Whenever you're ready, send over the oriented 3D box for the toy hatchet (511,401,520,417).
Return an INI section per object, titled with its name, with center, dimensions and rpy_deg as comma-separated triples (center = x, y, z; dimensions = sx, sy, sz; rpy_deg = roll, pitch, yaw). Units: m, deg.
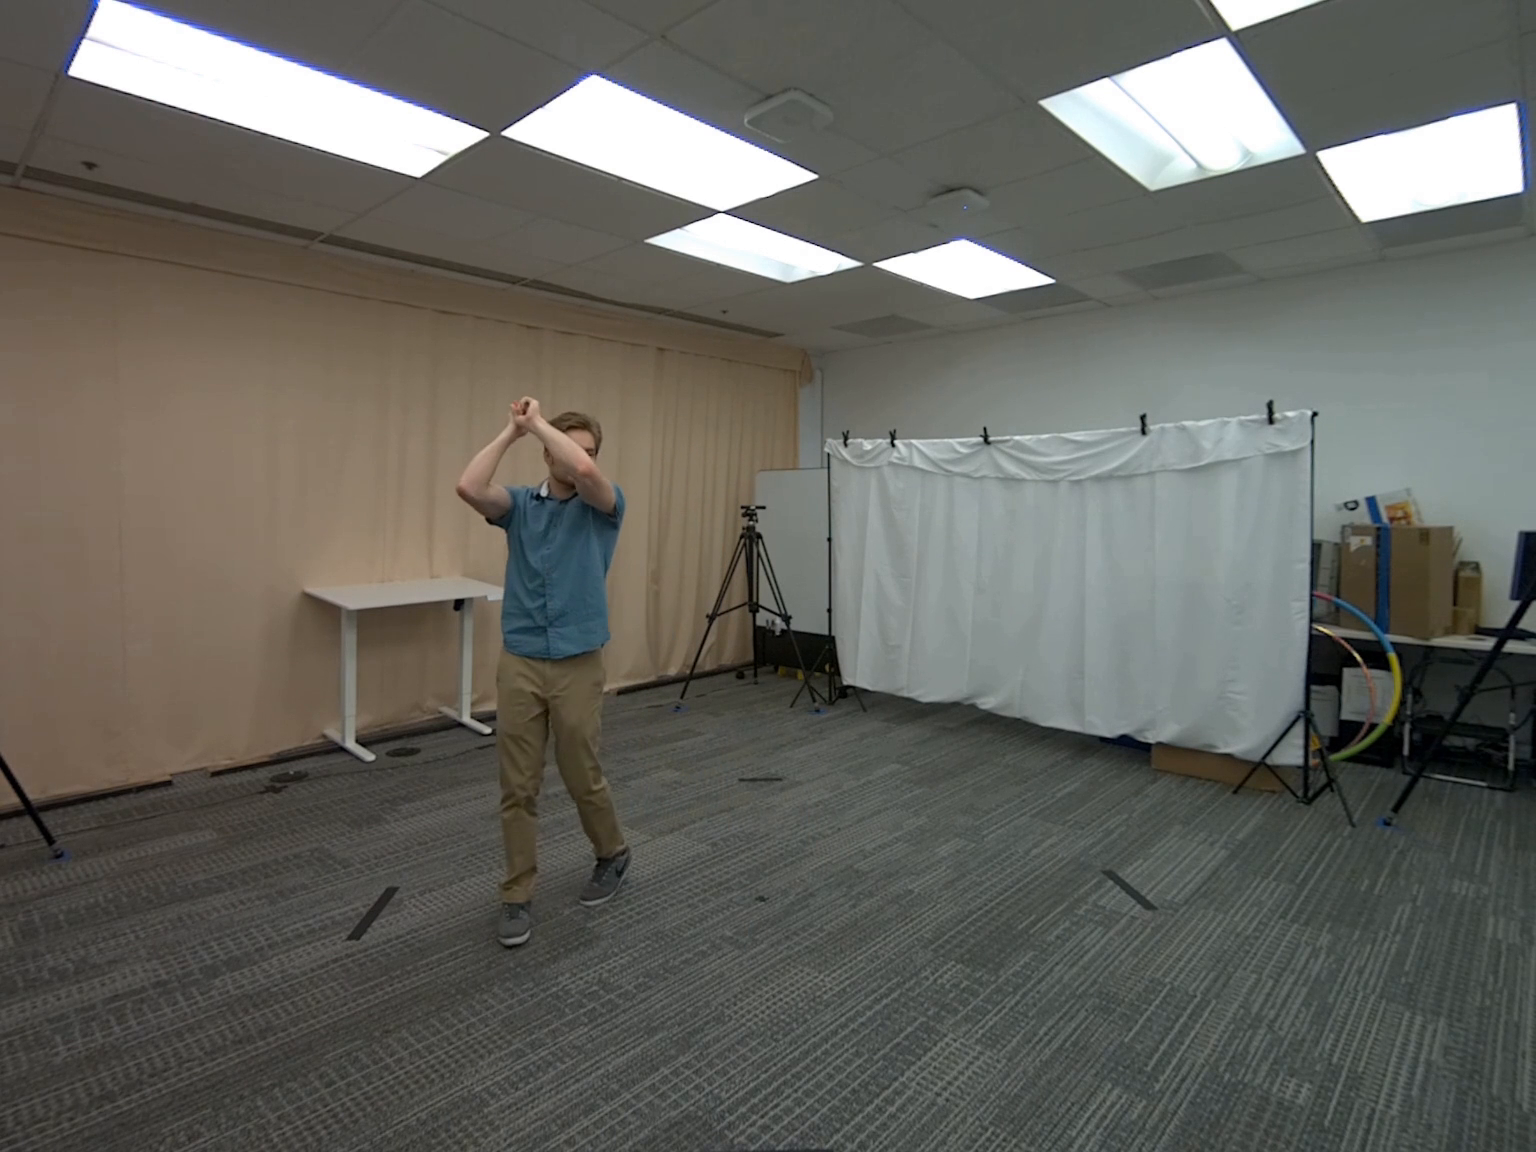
[toy hatchet]
center = -0.823, -0.561, 2.832
dimensions = 0.029, 0.132, 0.274
rpy_deg = 7, -14, -25
